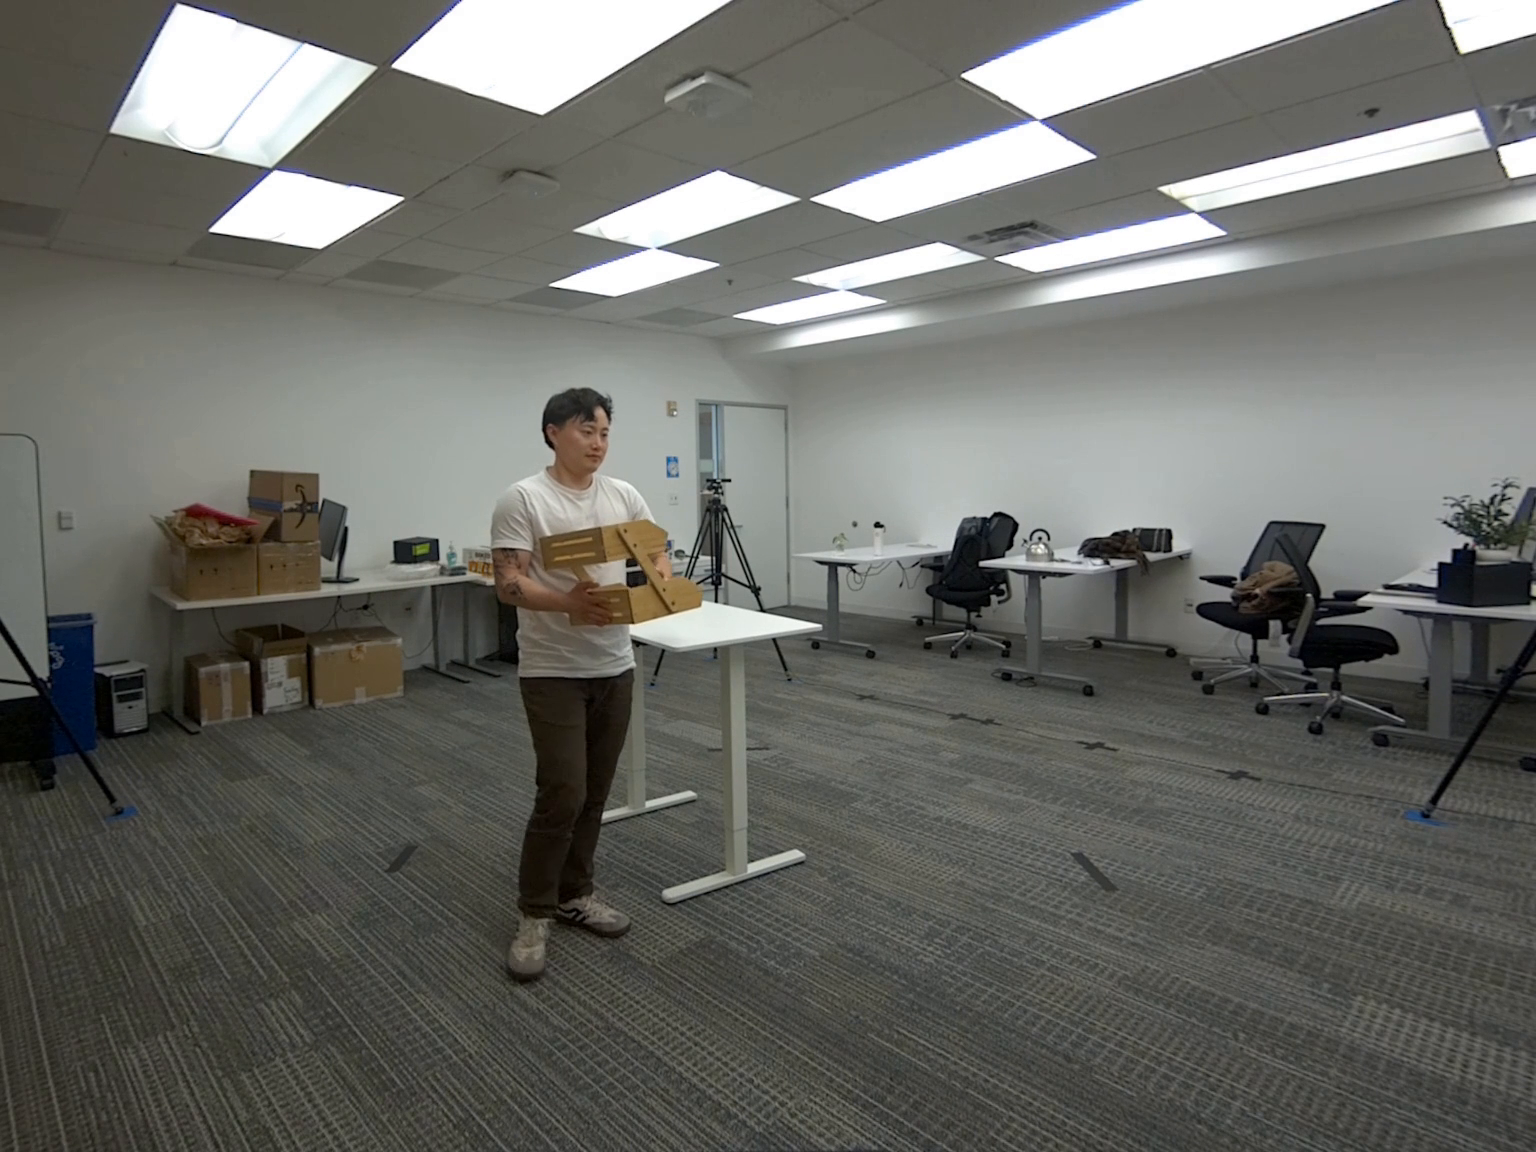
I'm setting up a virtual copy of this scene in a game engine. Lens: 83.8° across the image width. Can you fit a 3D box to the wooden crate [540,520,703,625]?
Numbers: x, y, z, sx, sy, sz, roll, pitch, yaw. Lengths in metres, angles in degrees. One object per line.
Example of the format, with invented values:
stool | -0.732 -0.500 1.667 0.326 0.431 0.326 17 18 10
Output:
wooden crate | -0.401 -0.016 2.331 0.333 0.273 0.295 -7 5 45
